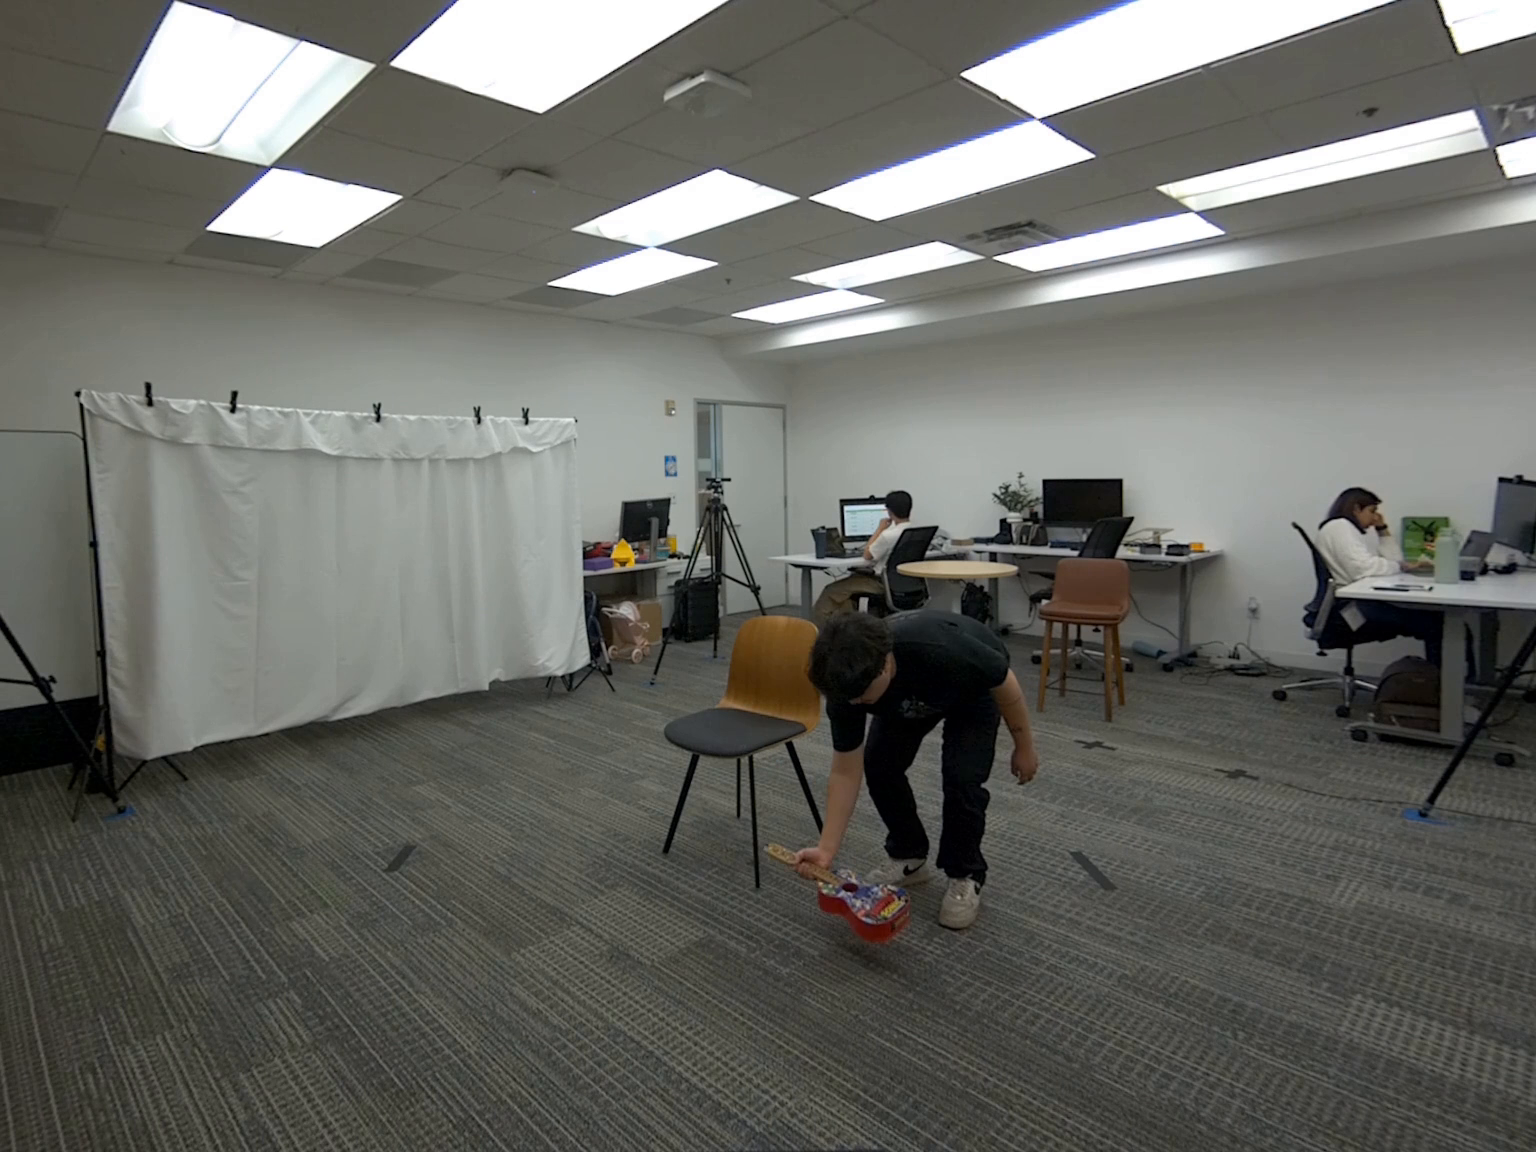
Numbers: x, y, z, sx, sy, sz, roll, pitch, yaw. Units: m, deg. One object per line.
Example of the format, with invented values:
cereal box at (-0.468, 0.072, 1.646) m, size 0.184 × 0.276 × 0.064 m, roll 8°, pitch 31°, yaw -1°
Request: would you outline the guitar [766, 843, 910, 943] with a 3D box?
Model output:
guitar at (0.219, 0.929, 2.584) m, size 0.189 × 0.070 × 0.515 m, roll -13°, pitch 19°, yaw -35°
